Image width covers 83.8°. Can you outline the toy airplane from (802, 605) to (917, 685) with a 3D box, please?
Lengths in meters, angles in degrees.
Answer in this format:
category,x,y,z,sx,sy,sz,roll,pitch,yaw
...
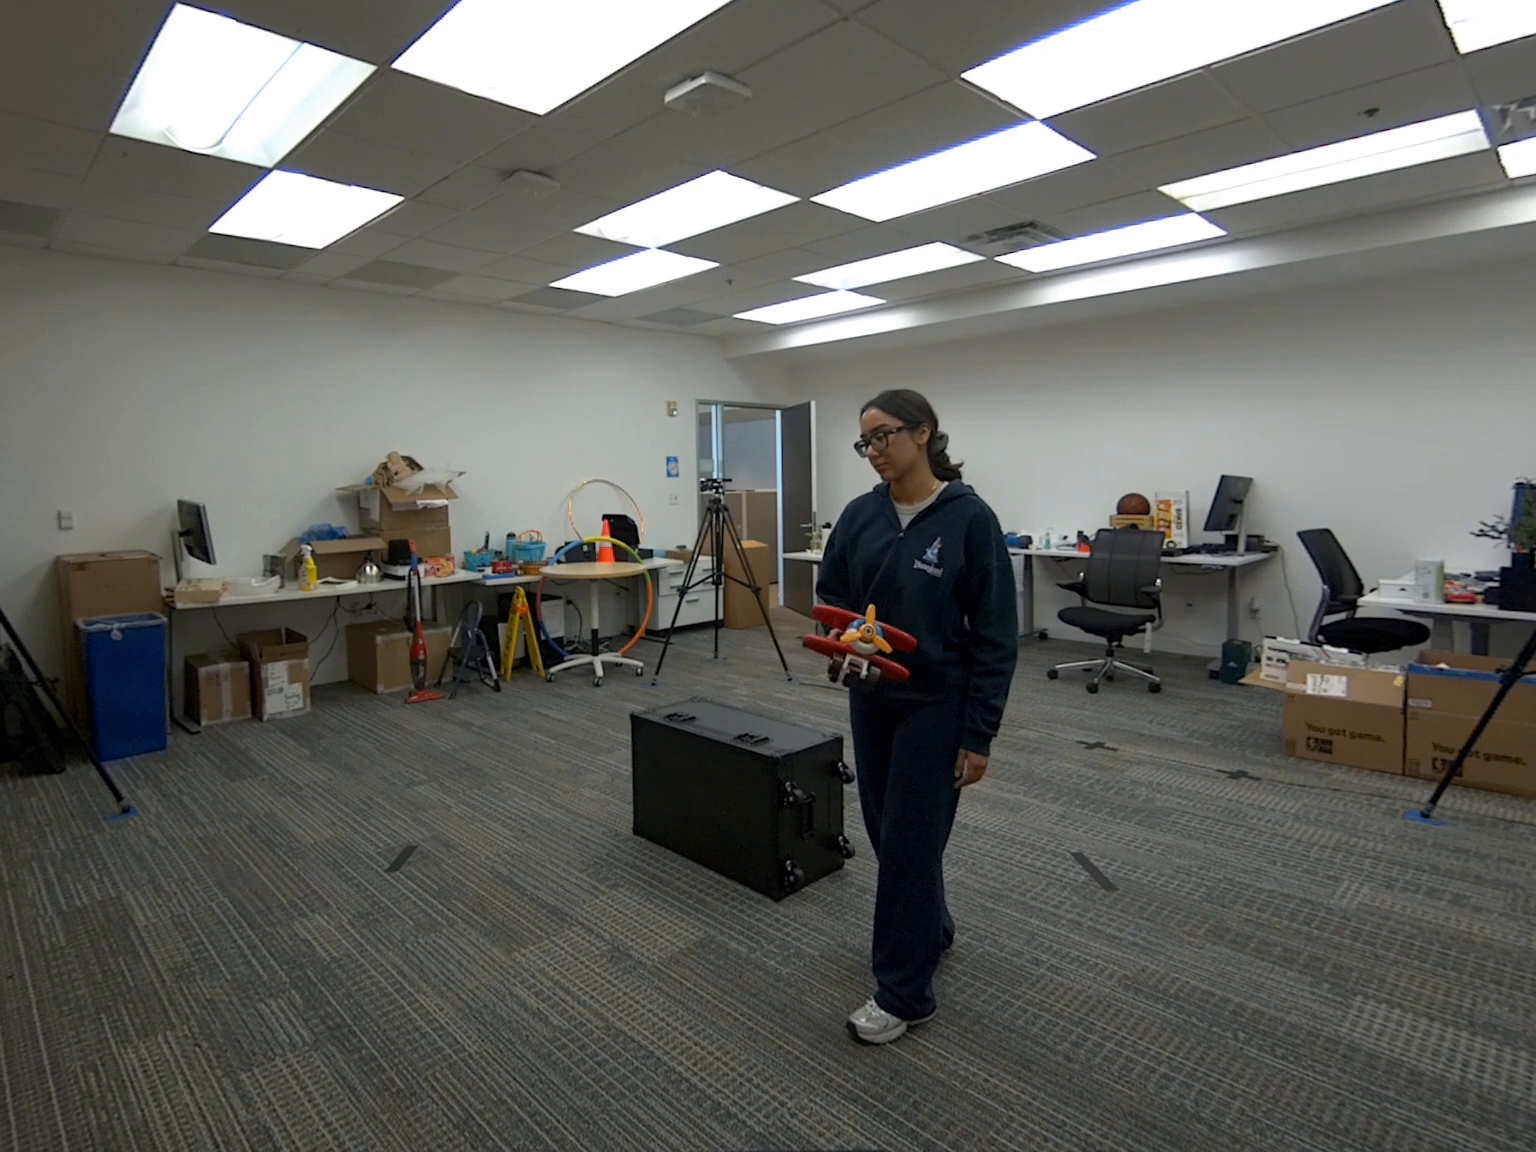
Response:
category,x,y,z,sx,sy,sz,roll,pitch,yaw
toy airplane,0.194,0.177,2.030,0.244,0.157,0.265,29,-13,-25
